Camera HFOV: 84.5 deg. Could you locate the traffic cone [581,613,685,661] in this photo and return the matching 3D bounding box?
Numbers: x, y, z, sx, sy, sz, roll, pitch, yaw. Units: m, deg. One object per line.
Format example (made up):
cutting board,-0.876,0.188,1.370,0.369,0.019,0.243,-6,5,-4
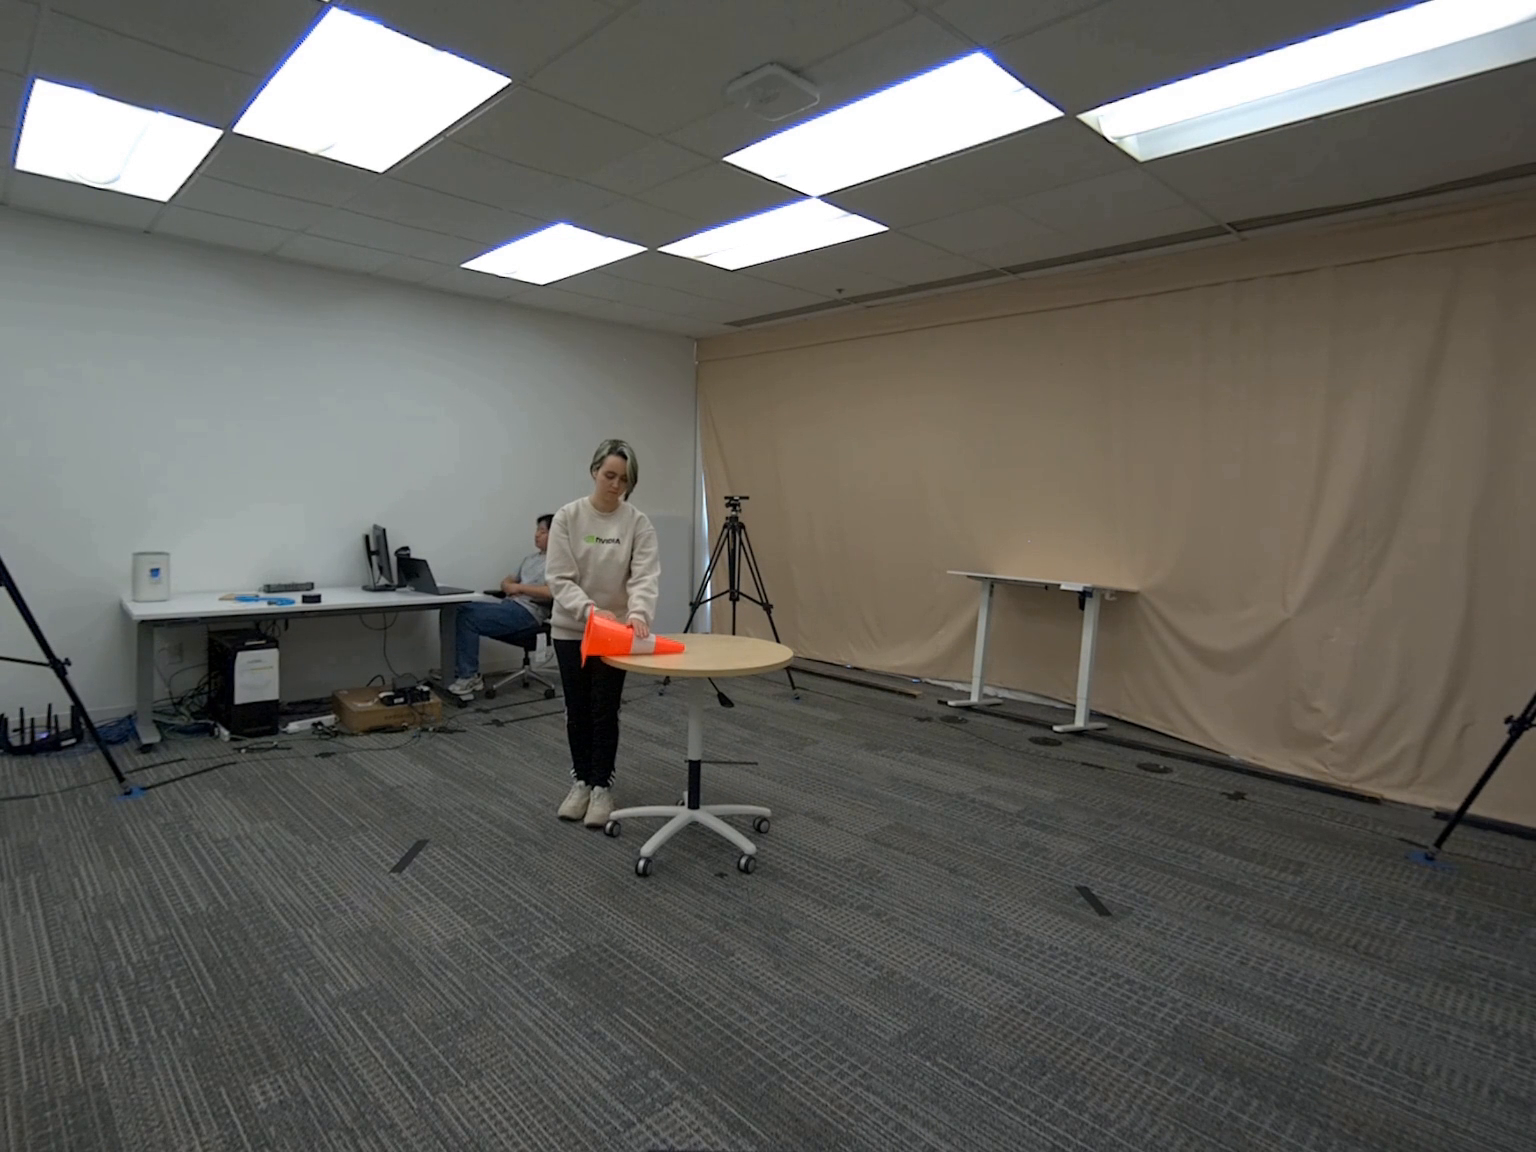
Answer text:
traffic cone,-0.520,0.257,3.224,0.380,0.204,0.206,10,10,-10
